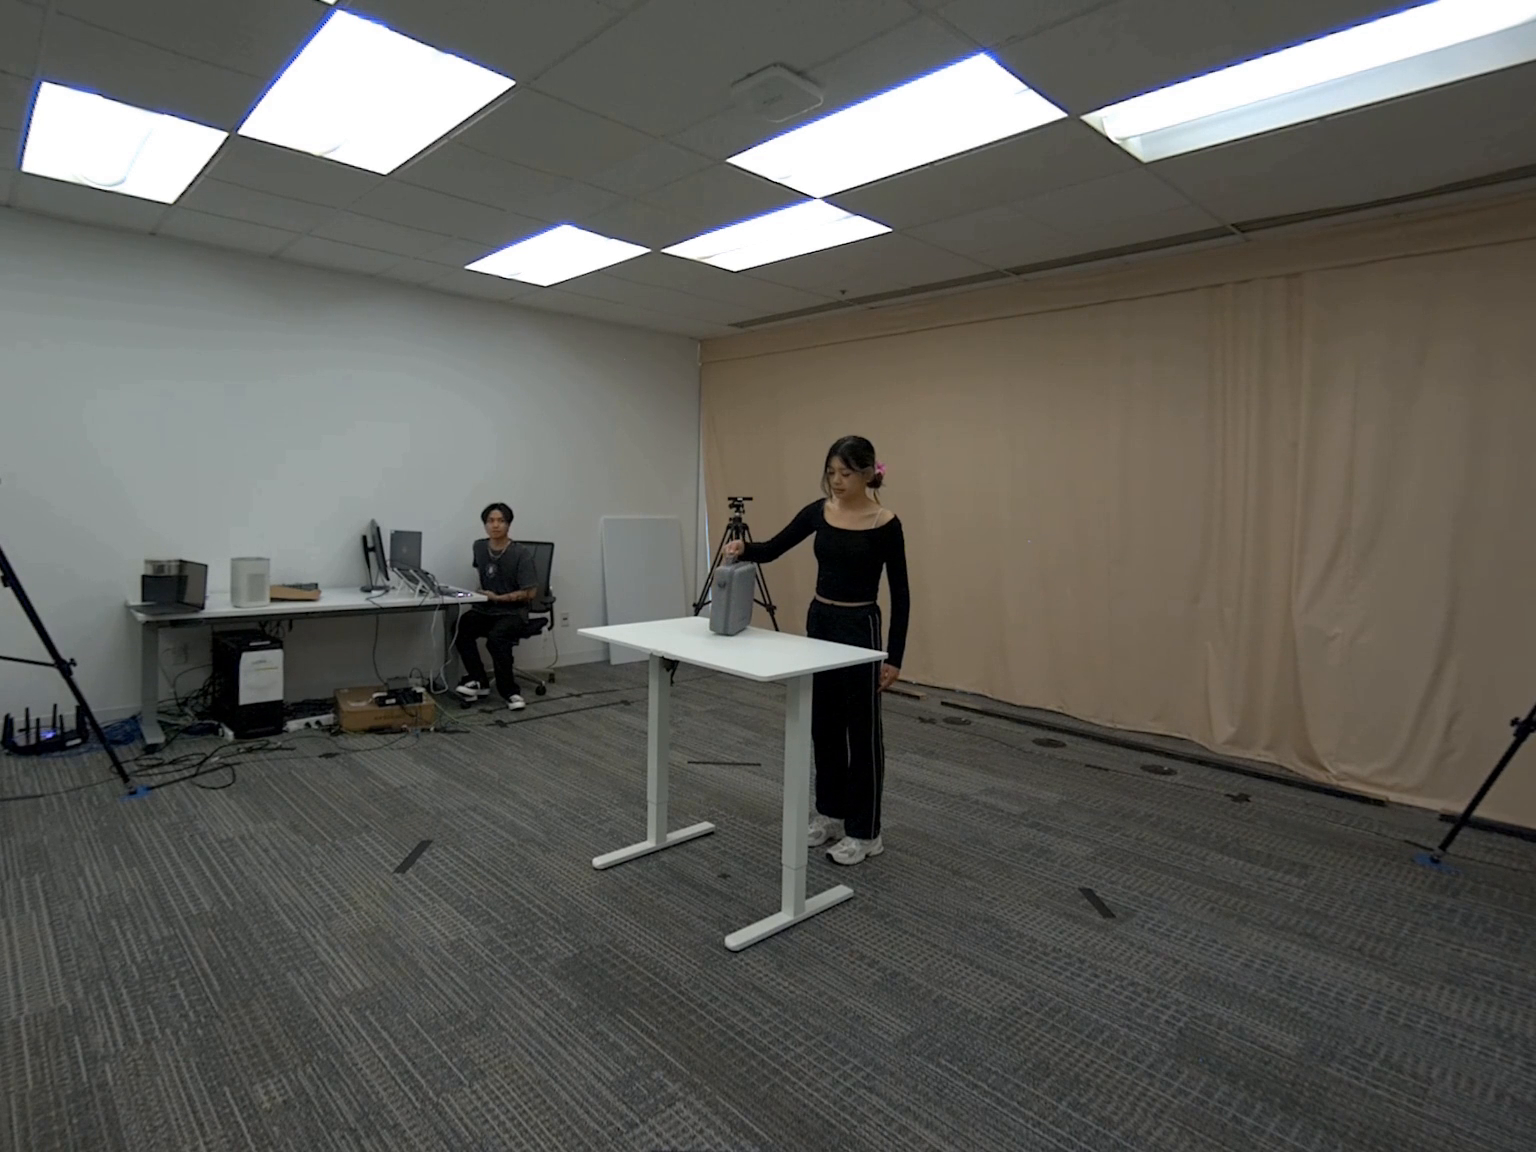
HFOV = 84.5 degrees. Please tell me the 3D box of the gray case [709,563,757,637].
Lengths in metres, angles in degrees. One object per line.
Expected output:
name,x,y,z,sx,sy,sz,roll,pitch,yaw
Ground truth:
gray case,-0.142,0.079,3.197,0.106,0.260,0.254,4,5,16
